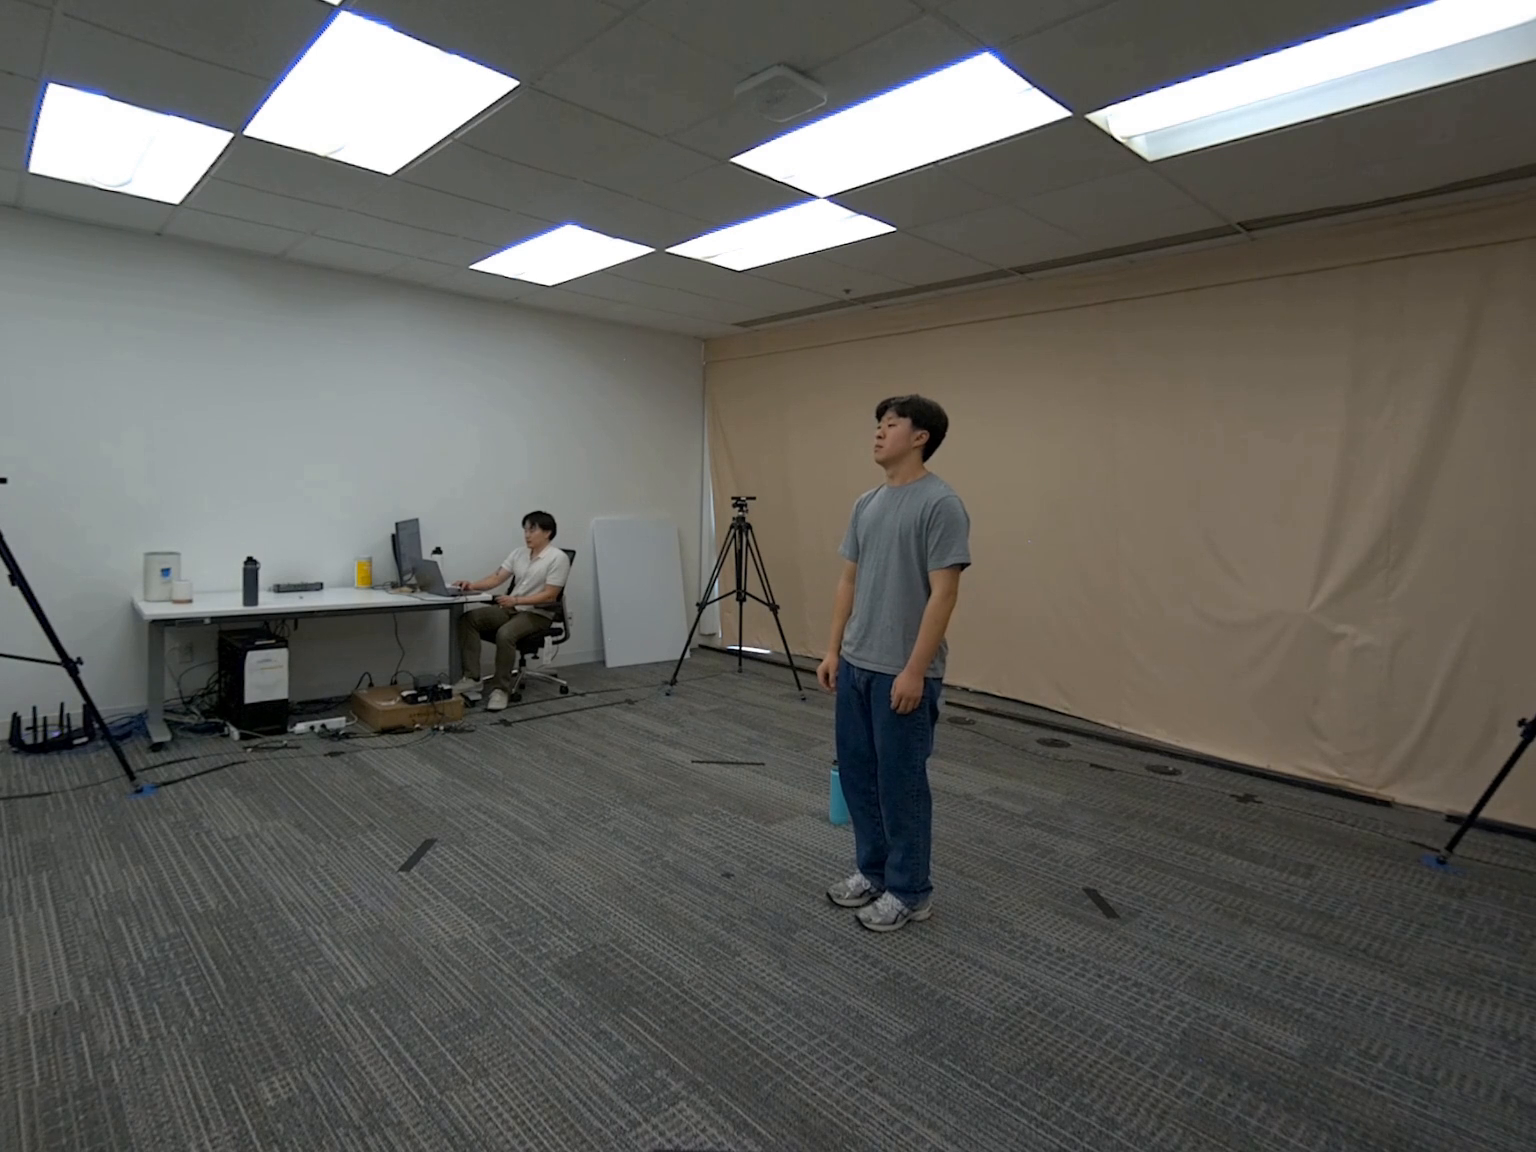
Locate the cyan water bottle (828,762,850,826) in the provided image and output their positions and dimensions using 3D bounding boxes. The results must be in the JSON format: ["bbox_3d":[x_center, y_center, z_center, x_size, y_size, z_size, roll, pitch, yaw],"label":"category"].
[{"bbox_3d":[0.304,0.928,3.660,0.092,0.282,0.093,2,5,-2],"label":"cyan water bottle"}]
